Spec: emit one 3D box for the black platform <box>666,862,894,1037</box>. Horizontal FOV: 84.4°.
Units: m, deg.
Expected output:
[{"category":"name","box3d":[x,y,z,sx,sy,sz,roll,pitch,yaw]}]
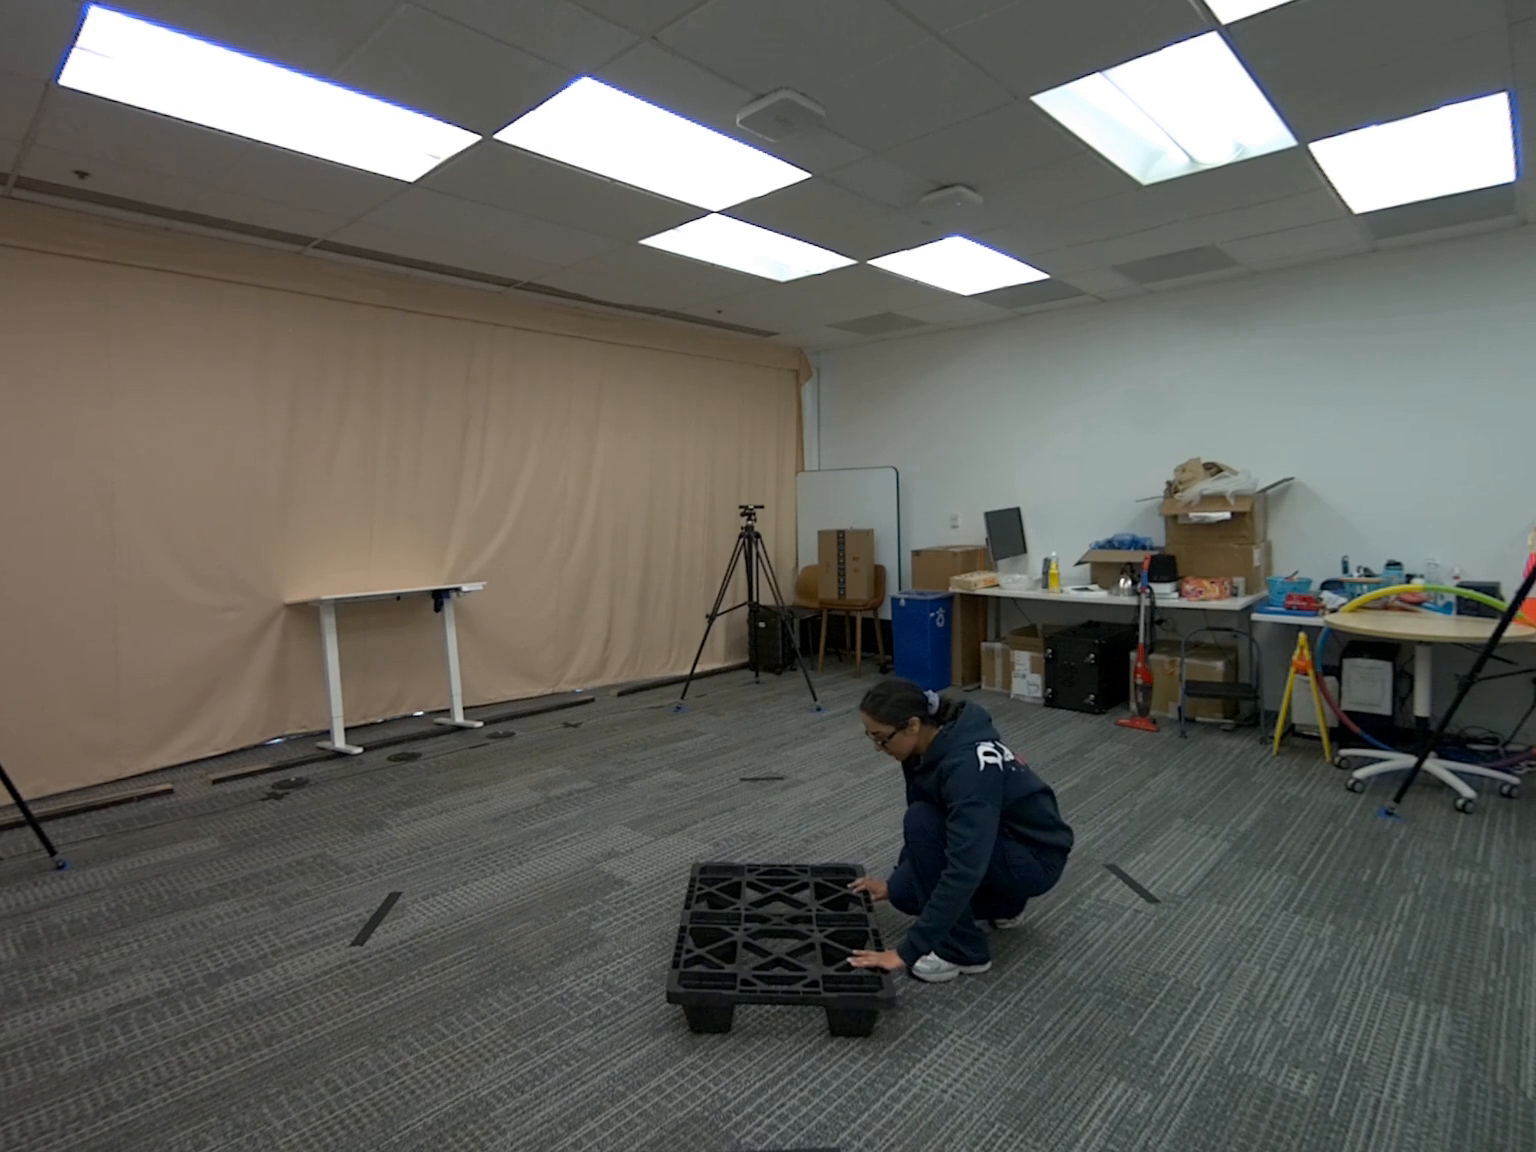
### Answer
[{"category":"black platform","box3d":[0.039,1.111,2.576,0.607,0.143,0.805,0,5,2]}]
